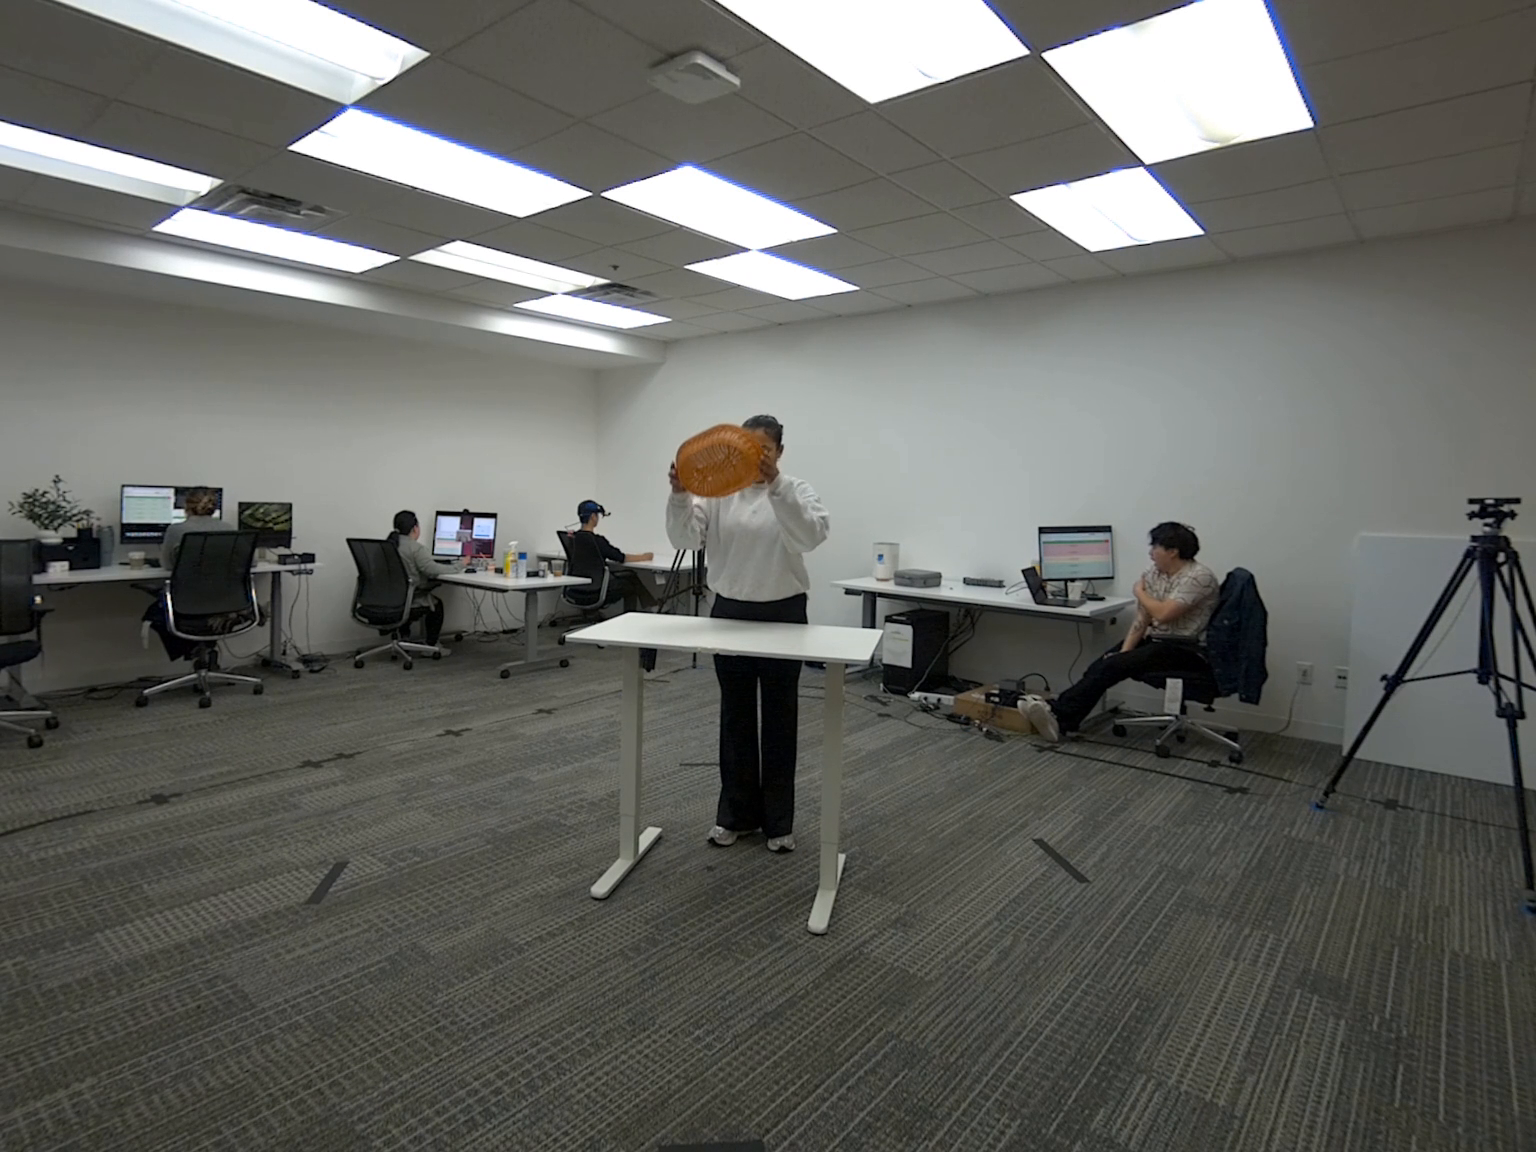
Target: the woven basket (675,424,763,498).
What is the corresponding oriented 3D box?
[{"bbox_3d":[-0.180,-0.361,2.950,0.355,0.247,0.074,-26,21,34],"label":"woven basket"}]
